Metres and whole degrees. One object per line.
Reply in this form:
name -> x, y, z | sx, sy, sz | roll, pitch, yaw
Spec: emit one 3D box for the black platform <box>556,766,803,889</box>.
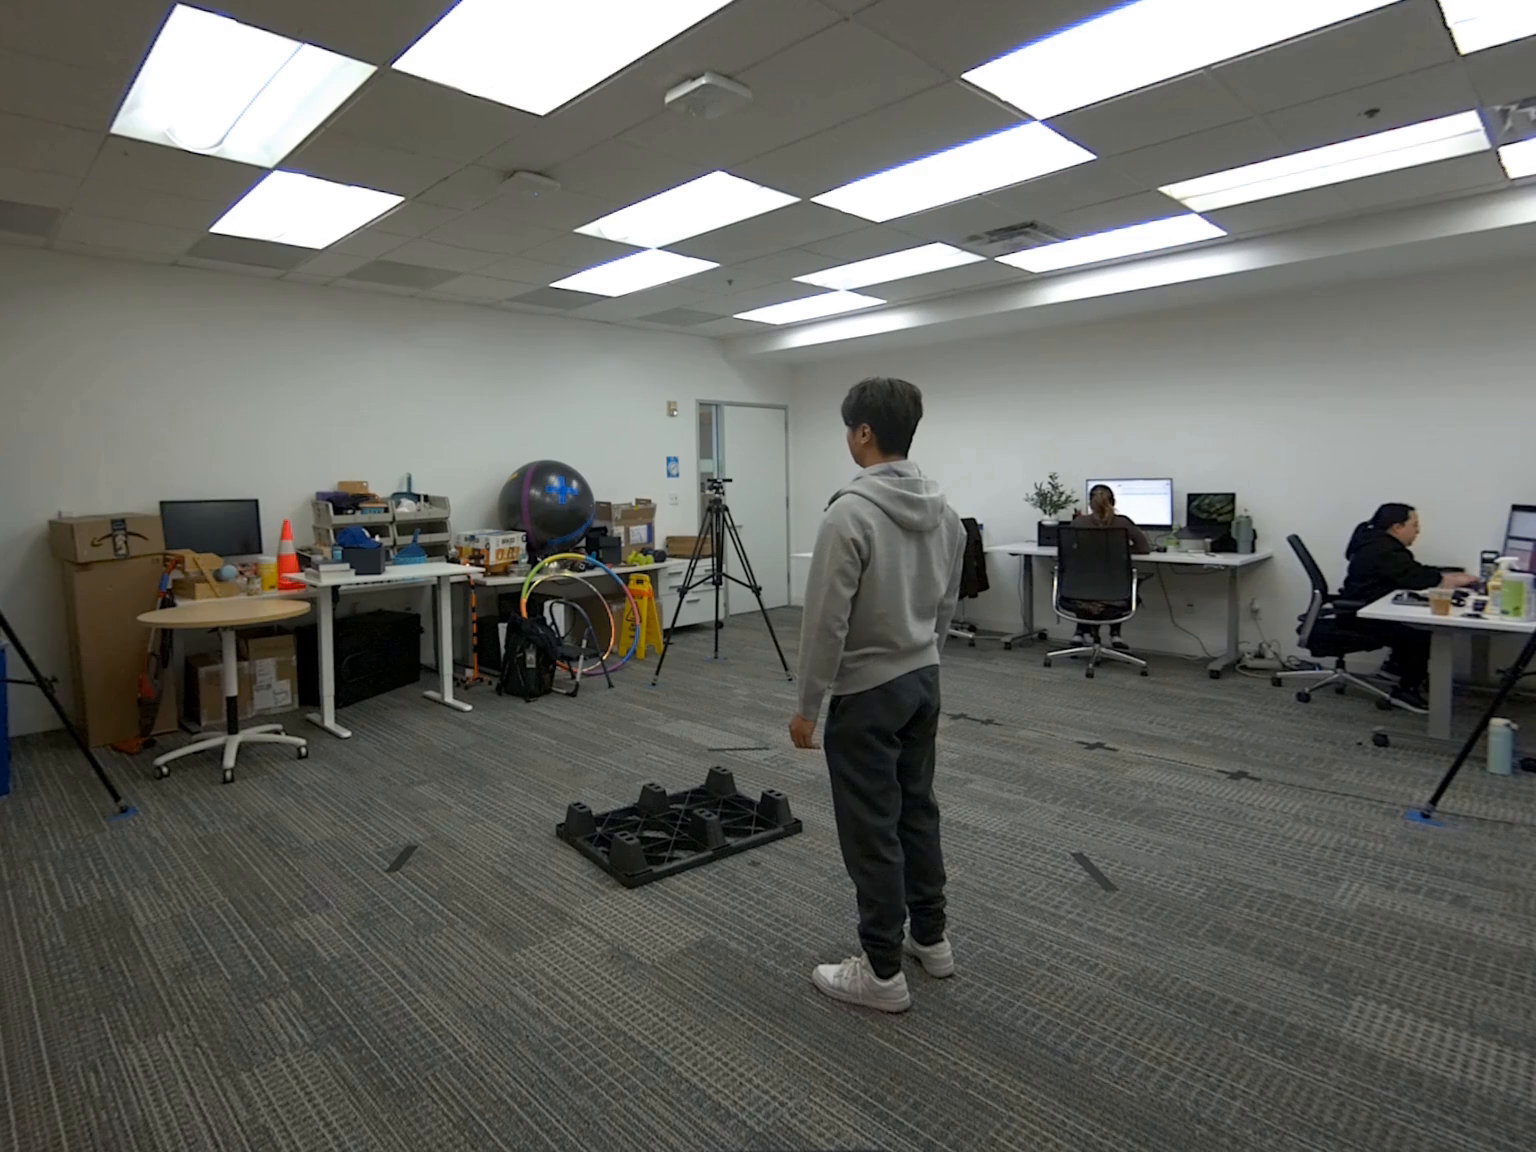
black platform -> -0.352, 0.952, 3.394 | 0.785, 0.143, 0.624 | -5, 8, -38
